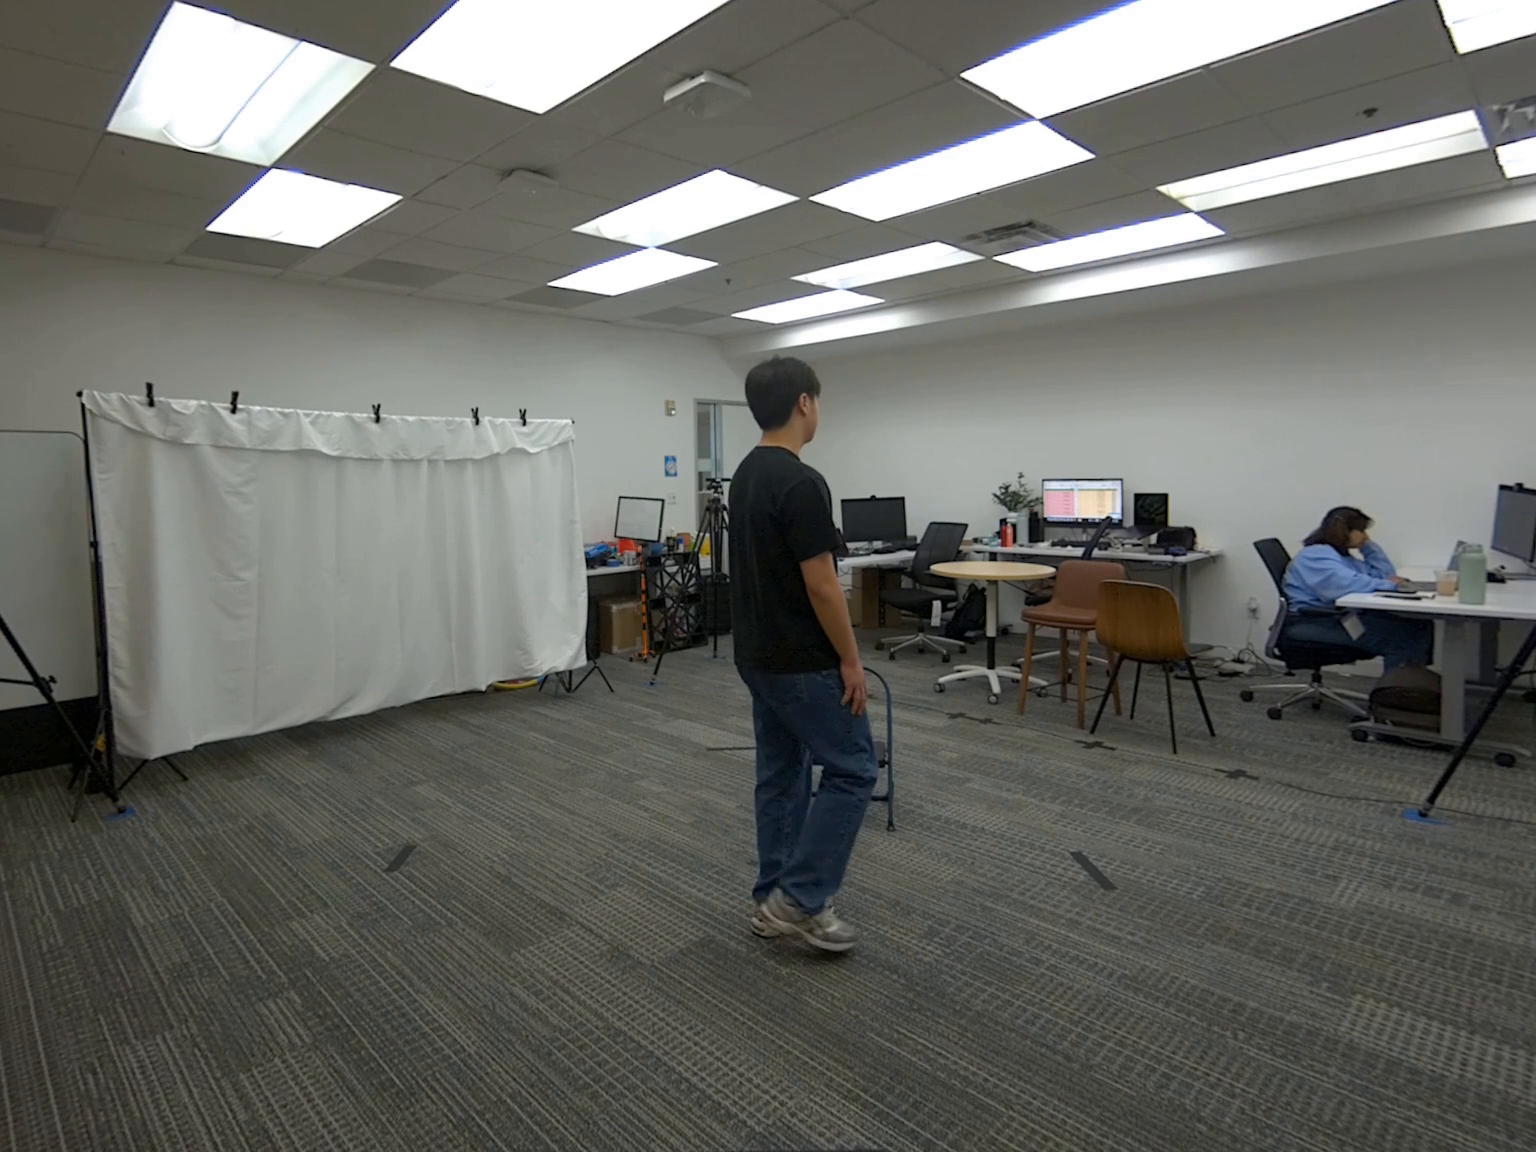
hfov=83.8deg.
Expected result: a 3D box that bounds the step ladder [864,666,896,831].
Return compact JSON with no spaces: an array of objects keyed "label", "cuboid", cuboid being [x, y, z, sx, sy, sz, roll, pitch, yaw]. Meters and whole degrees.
[{"label":"step ladder","cuboid":[0.318,0.685,3.554,0.435,0.604,0.347,0,4,10]}]
